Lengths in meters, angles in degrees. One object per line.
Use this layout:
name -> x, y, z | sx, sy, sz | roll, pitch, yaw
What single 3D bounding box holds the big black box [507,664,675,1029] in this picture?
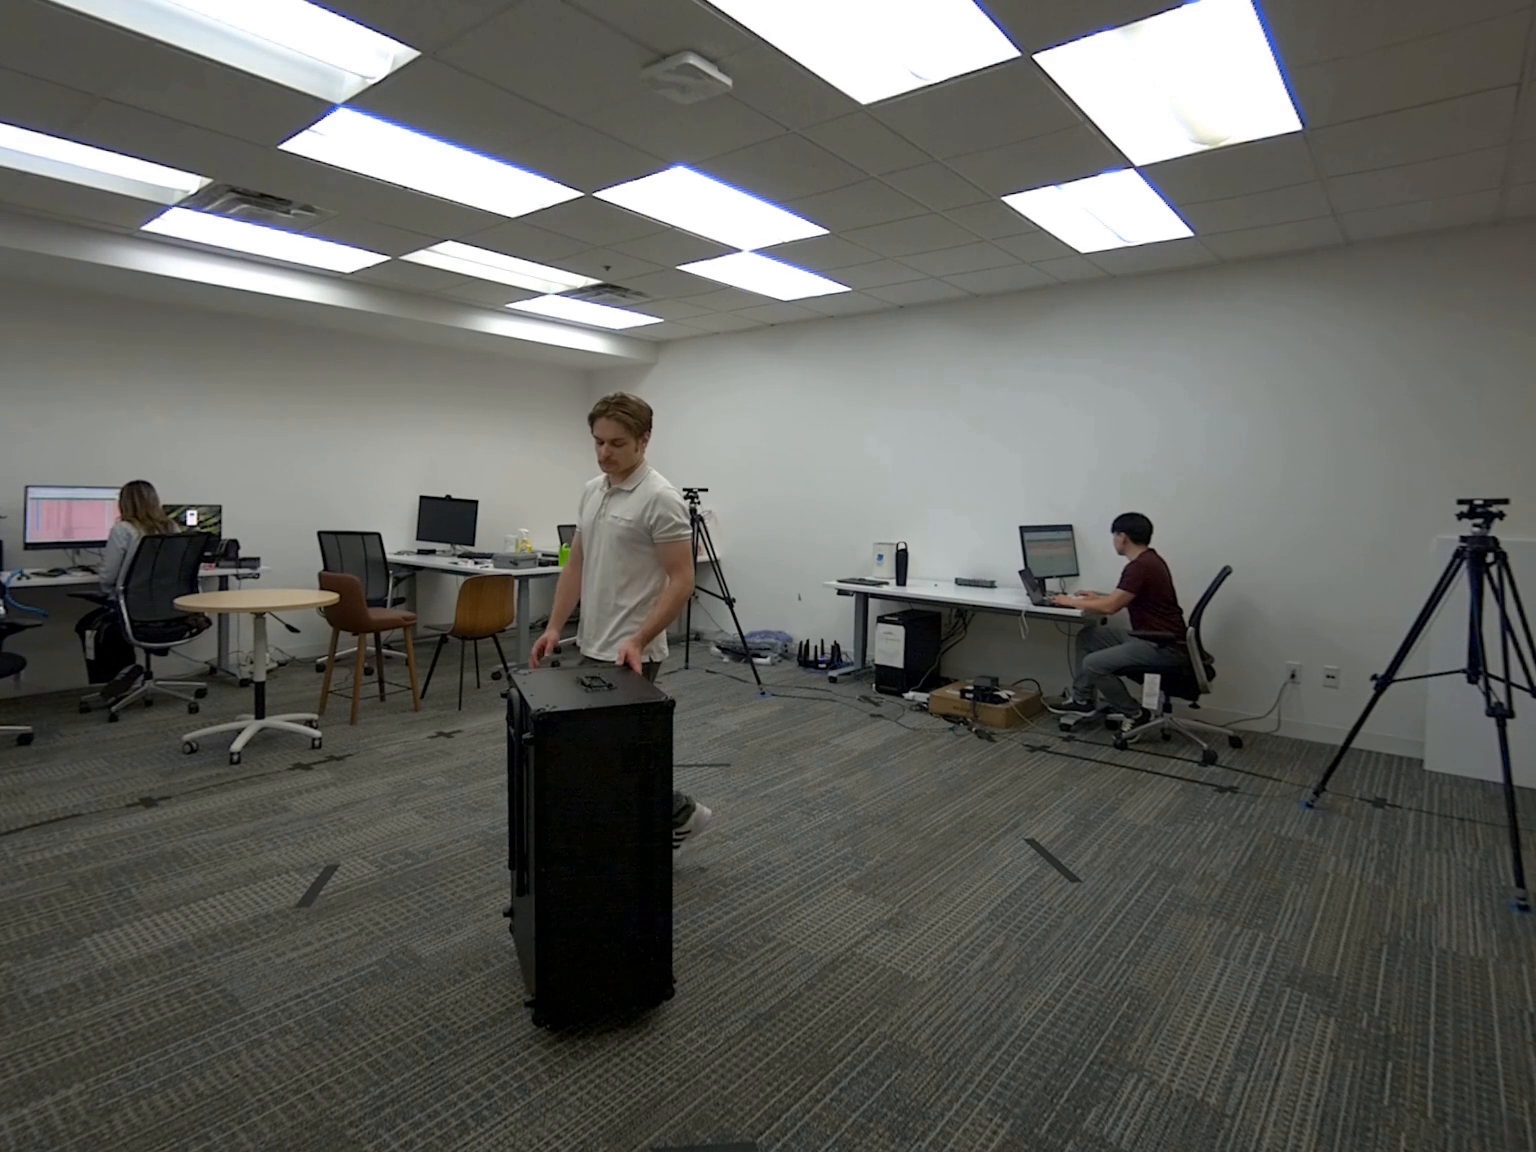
big black box -> -0.511, 0.722, 2.331 | 0.377, 0.865, 0.536 | -1, 4, -22
